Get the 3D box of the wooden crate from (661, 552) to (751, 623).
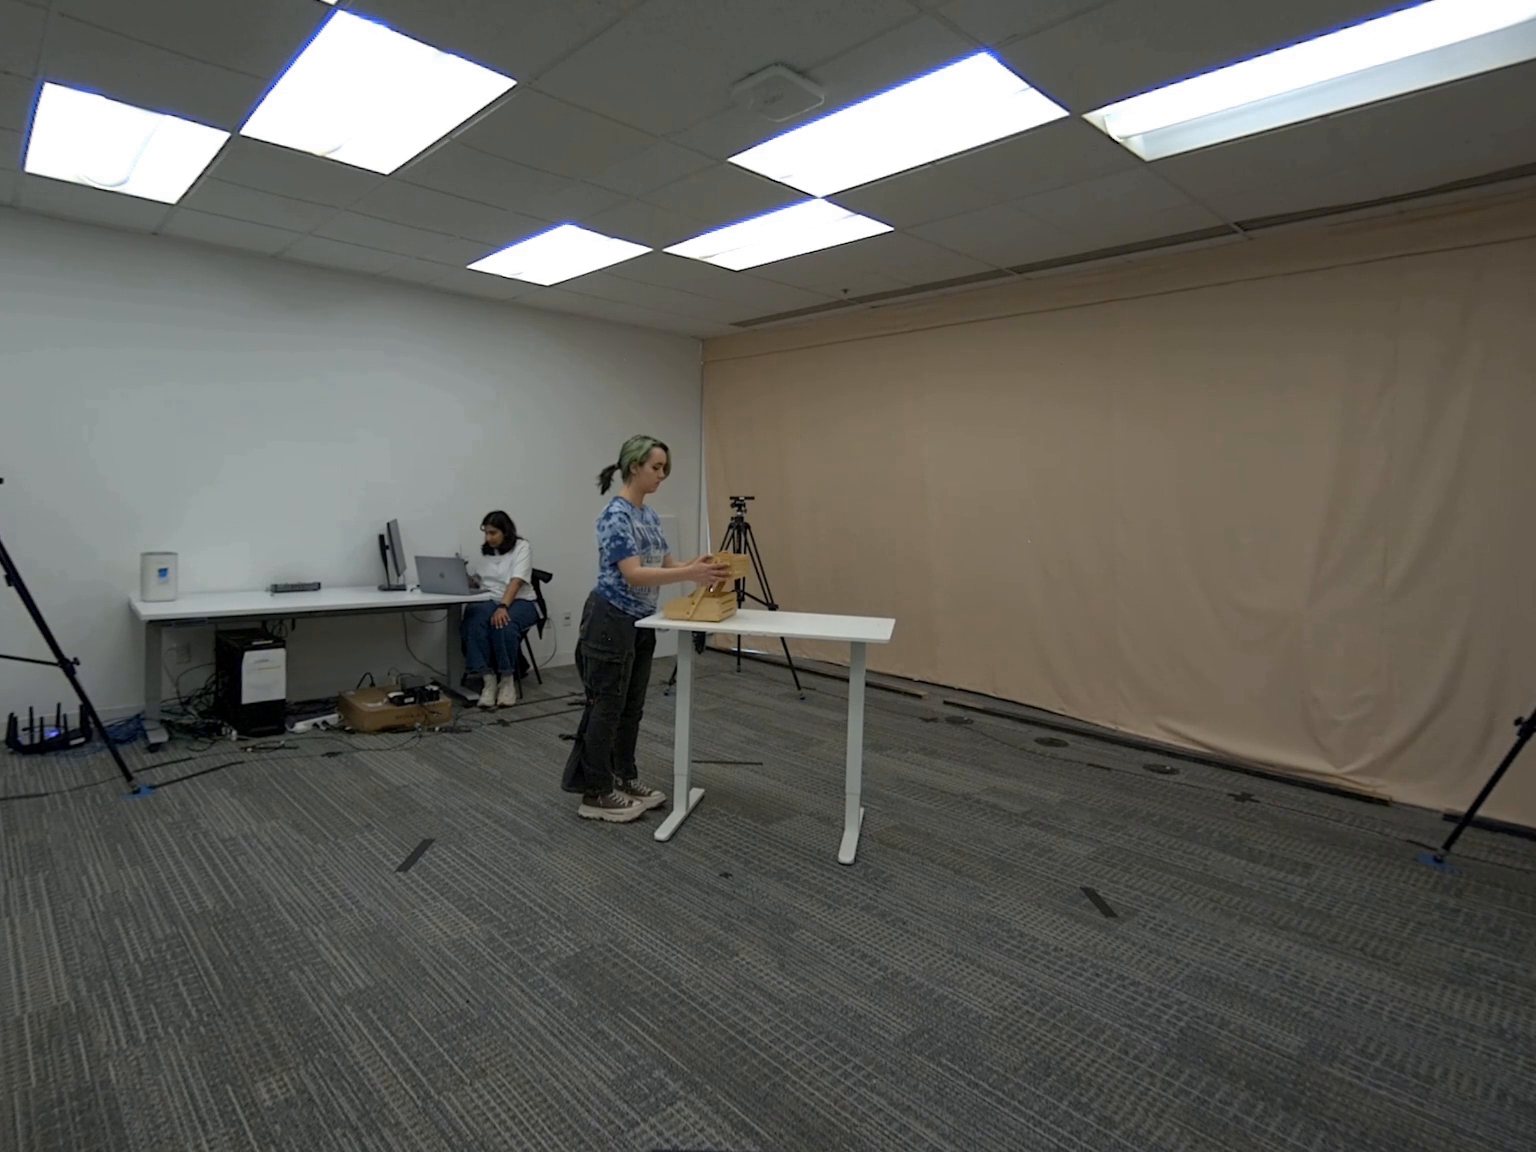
[{"bbox_3d":[-0.281,0.033,3.597,0.305,0.273,0.321,2,3,14],"label":"wooden crate"}]
